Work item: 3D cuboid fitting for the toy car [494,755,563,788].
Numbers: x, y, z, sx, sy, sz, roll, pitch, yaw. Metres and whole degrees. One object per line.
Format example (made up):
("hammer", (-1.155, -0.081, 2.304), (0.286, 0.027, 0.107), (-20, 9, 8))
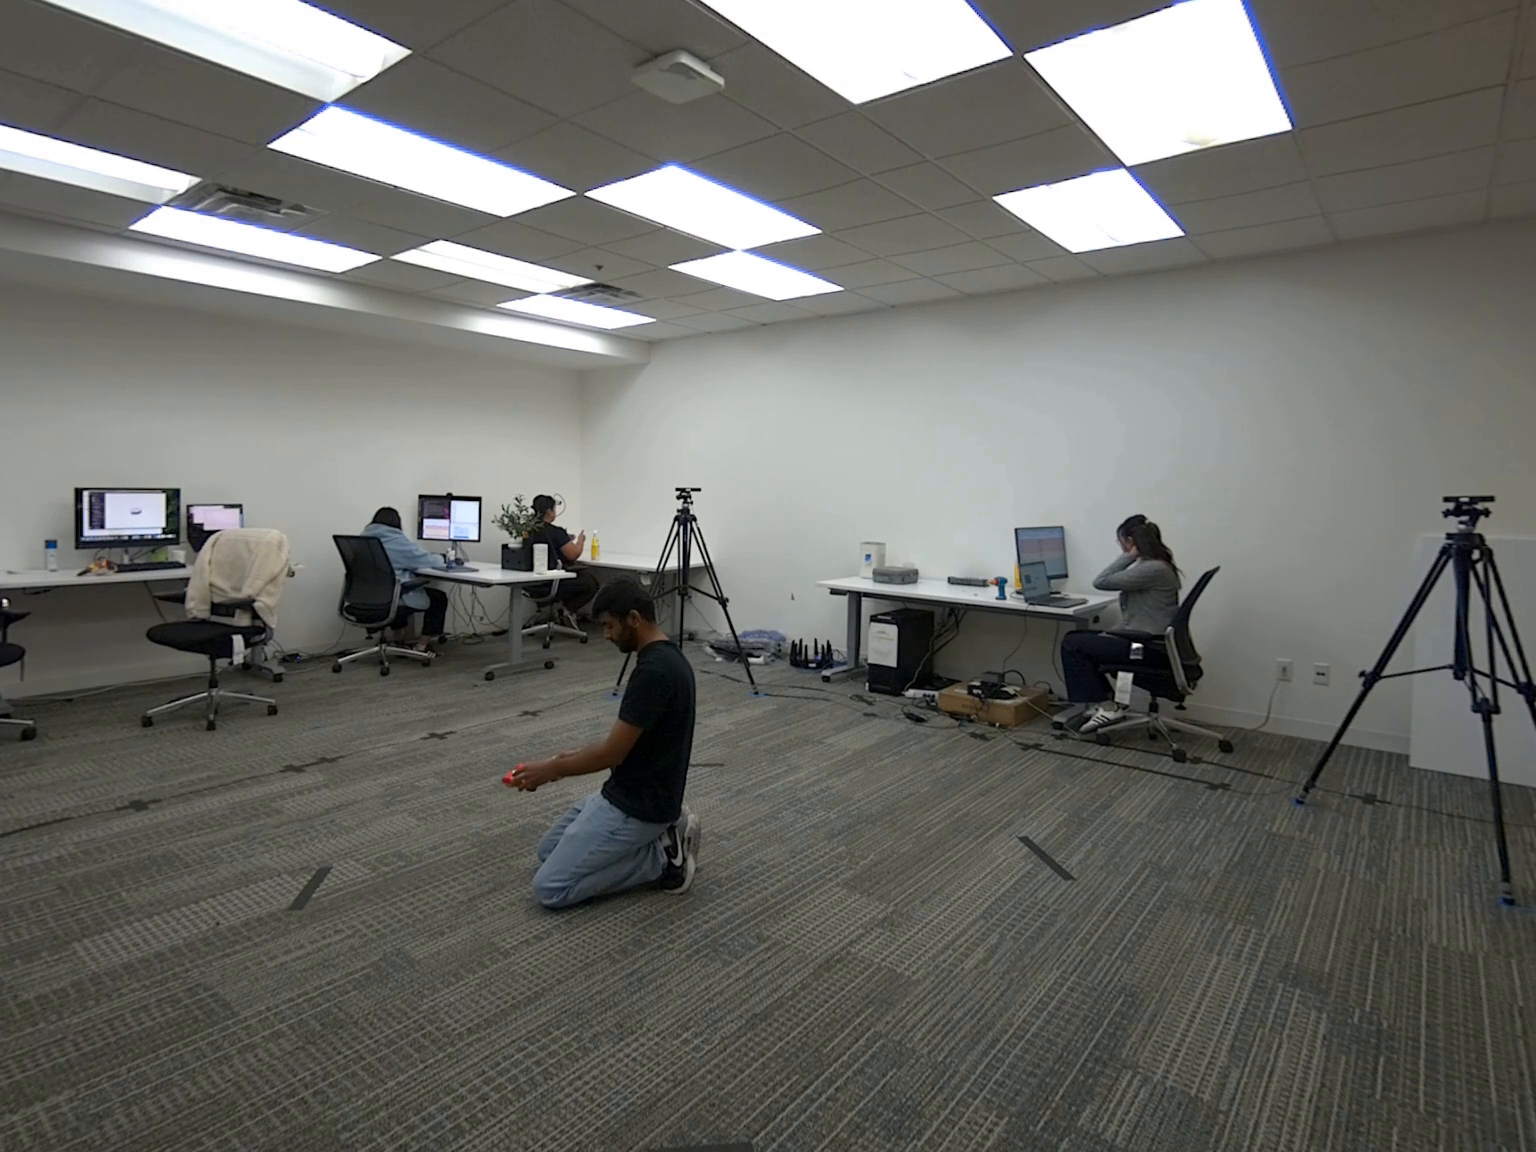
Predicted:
("toy car", (-0.874, 0.720, 3.099), (0.133, 0.084, 0.248), (6, -7, 17))
